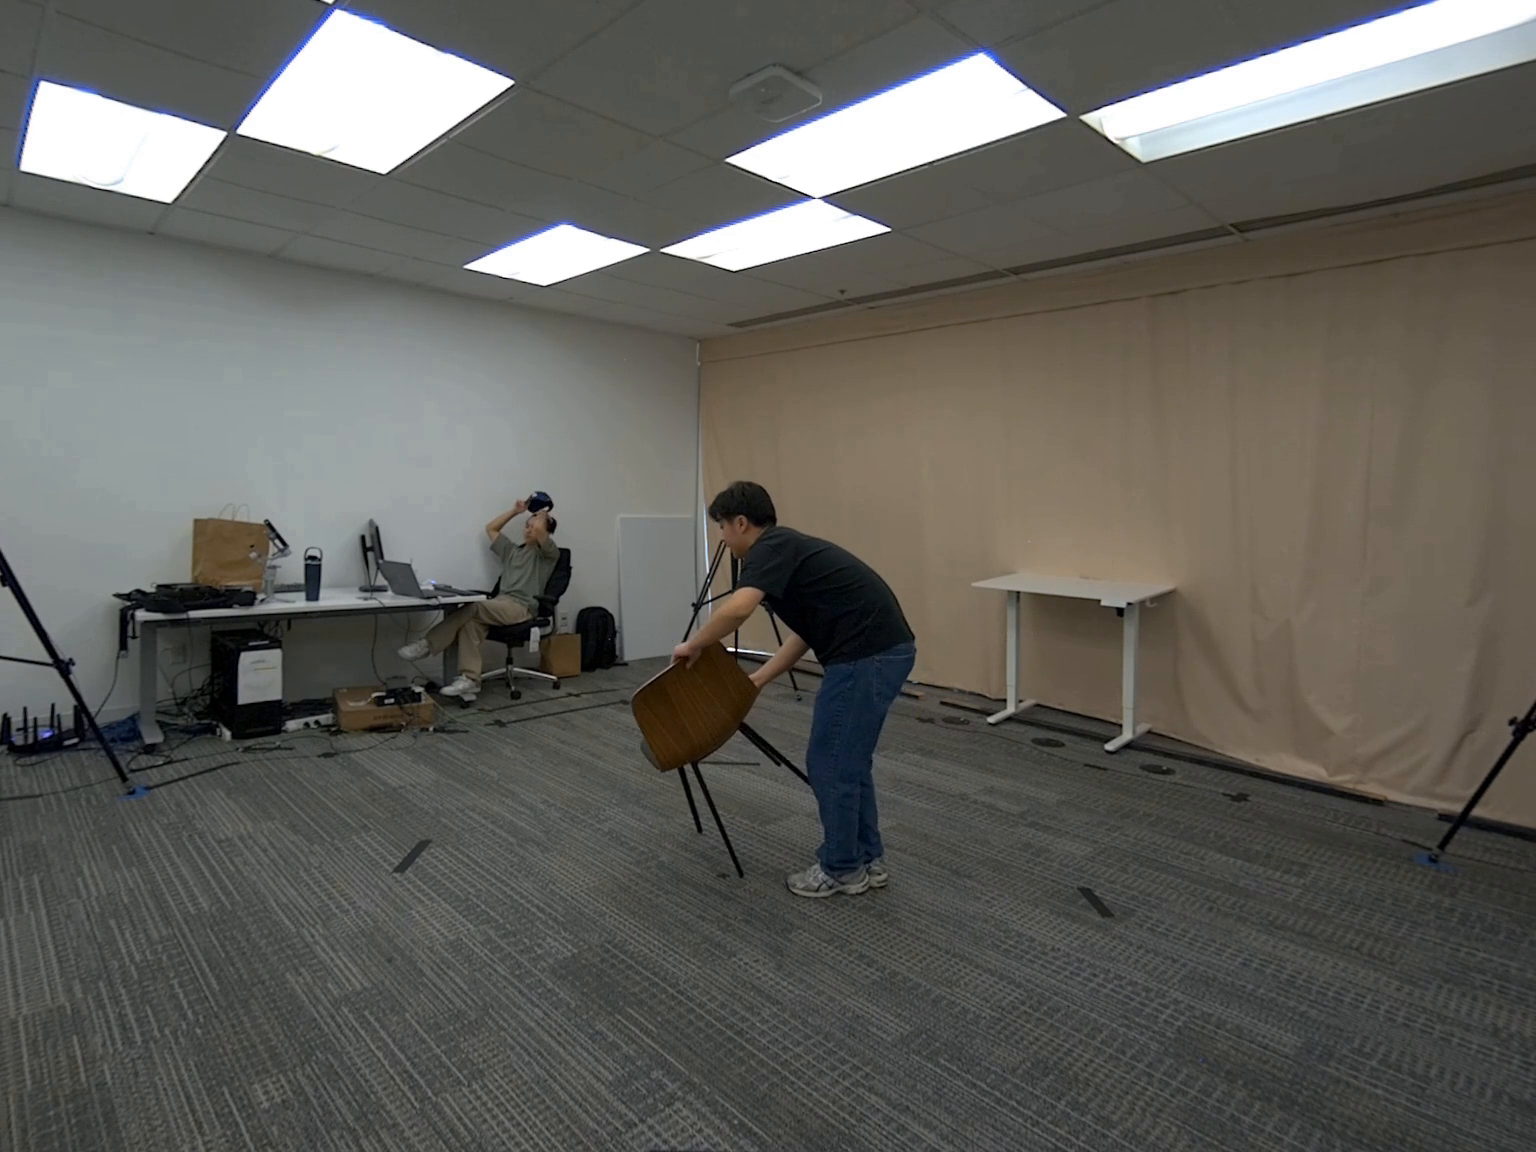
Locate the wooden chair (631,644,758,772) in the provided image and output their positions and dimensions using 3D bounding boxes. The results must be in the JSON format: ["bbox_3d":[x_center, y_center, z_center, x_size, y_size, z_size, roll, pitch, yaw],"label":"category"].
[{"bbox_3d":[-0.240,0.616,3.253,0.476,0.860,0.535,-37,22,-17],"label":"wooden chair"}]
